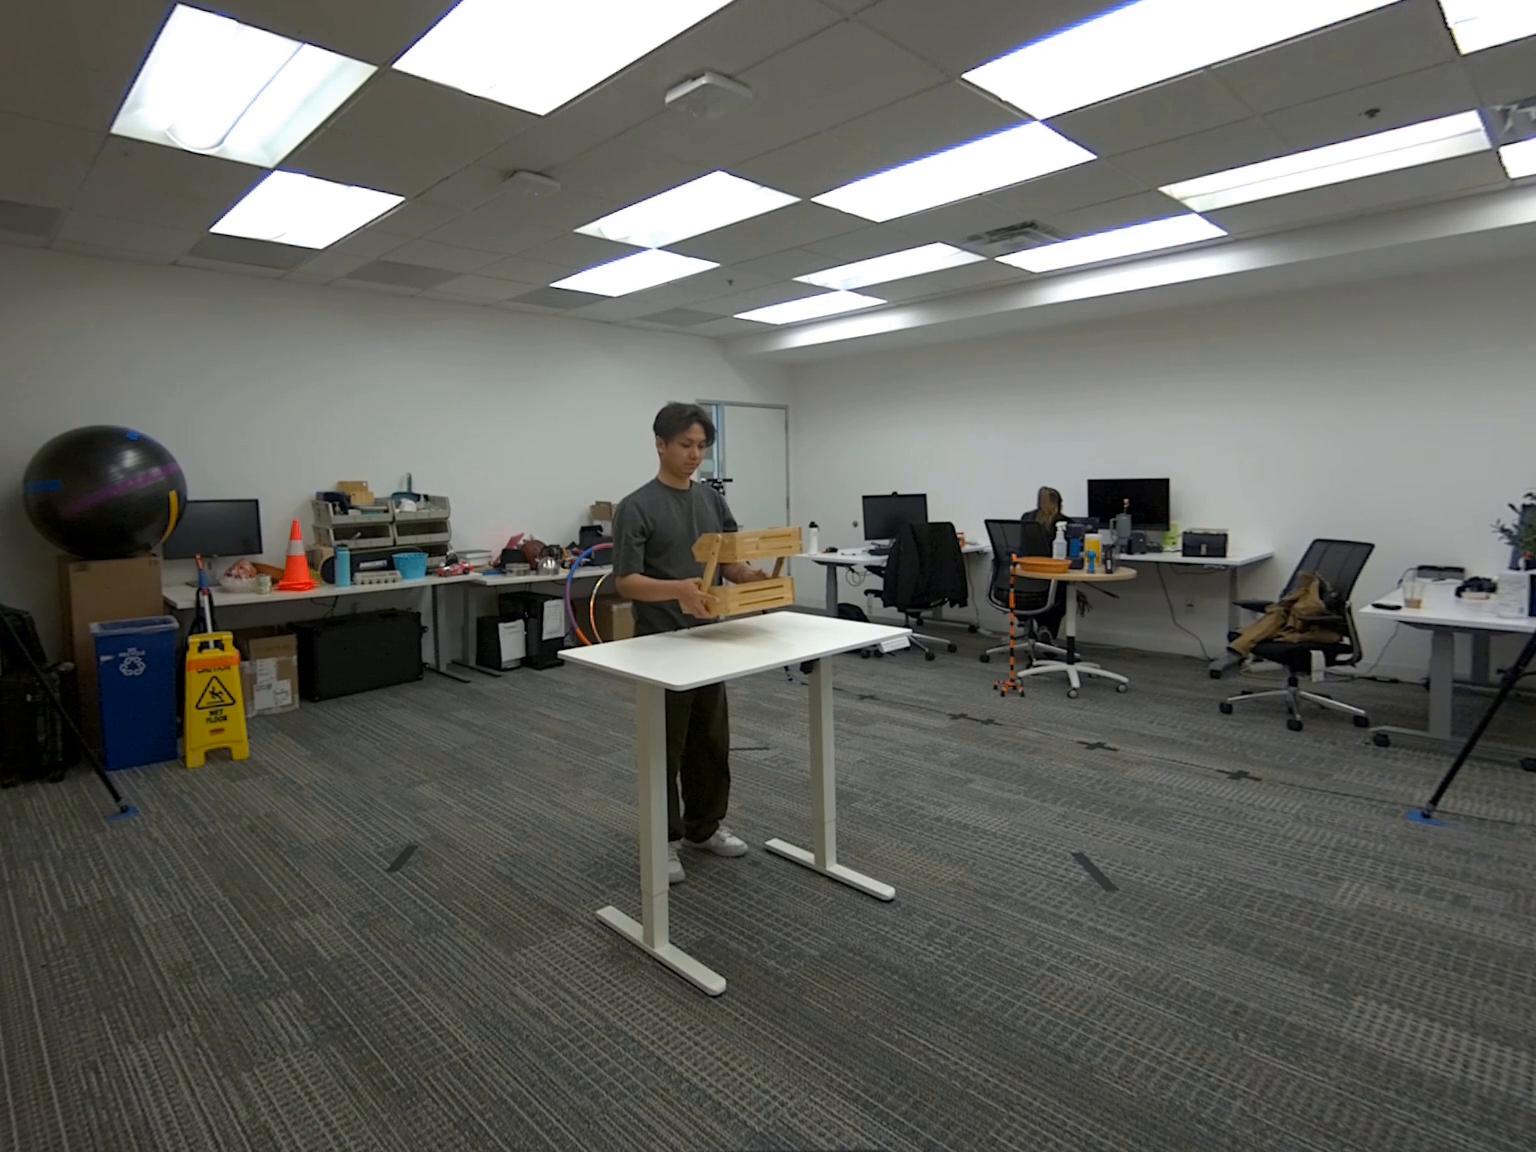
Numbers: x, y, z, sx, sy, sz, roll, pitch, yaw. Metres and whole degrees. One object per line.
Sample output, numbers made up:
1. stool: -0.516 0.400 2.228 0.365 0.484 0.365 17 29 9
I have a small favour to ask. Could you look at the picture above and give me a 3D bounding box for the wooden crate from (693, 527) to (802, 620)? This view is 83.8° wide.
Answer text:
1. wooden crate: -0.099 -0.022 2.834 0.316 0.273 0.310 -7 4 -42
